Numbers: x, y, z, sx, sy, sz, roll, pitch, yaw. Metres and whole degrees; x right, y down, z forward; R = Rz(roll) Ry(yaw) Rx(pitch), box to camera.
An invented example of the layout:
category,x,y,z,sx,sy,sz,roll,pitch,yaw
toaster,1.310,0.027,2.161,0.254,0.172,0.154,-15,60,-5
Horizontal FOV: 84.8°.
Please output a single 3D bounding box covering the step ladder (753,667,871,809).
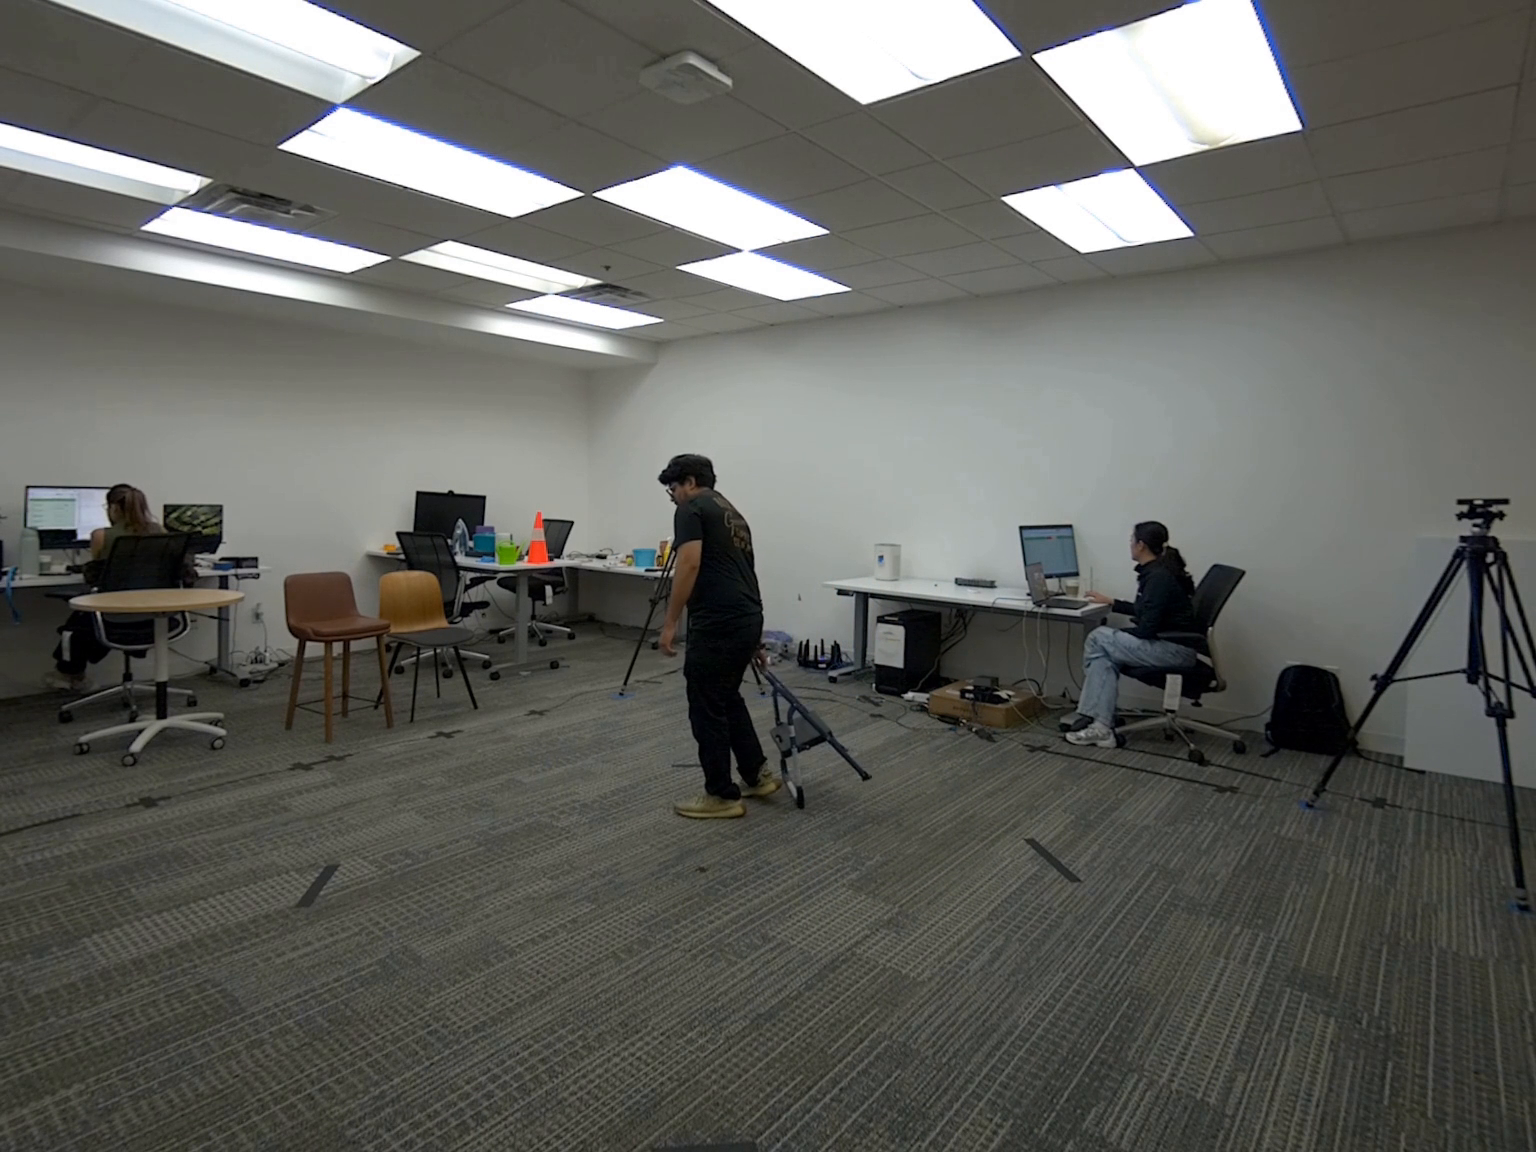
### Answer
category,x,y,z,sx,sy,sz,roll,pitch,yaw
step ladder,0.142,0.662,3.922,0.348,0.602,0.436,-23,7,-7
